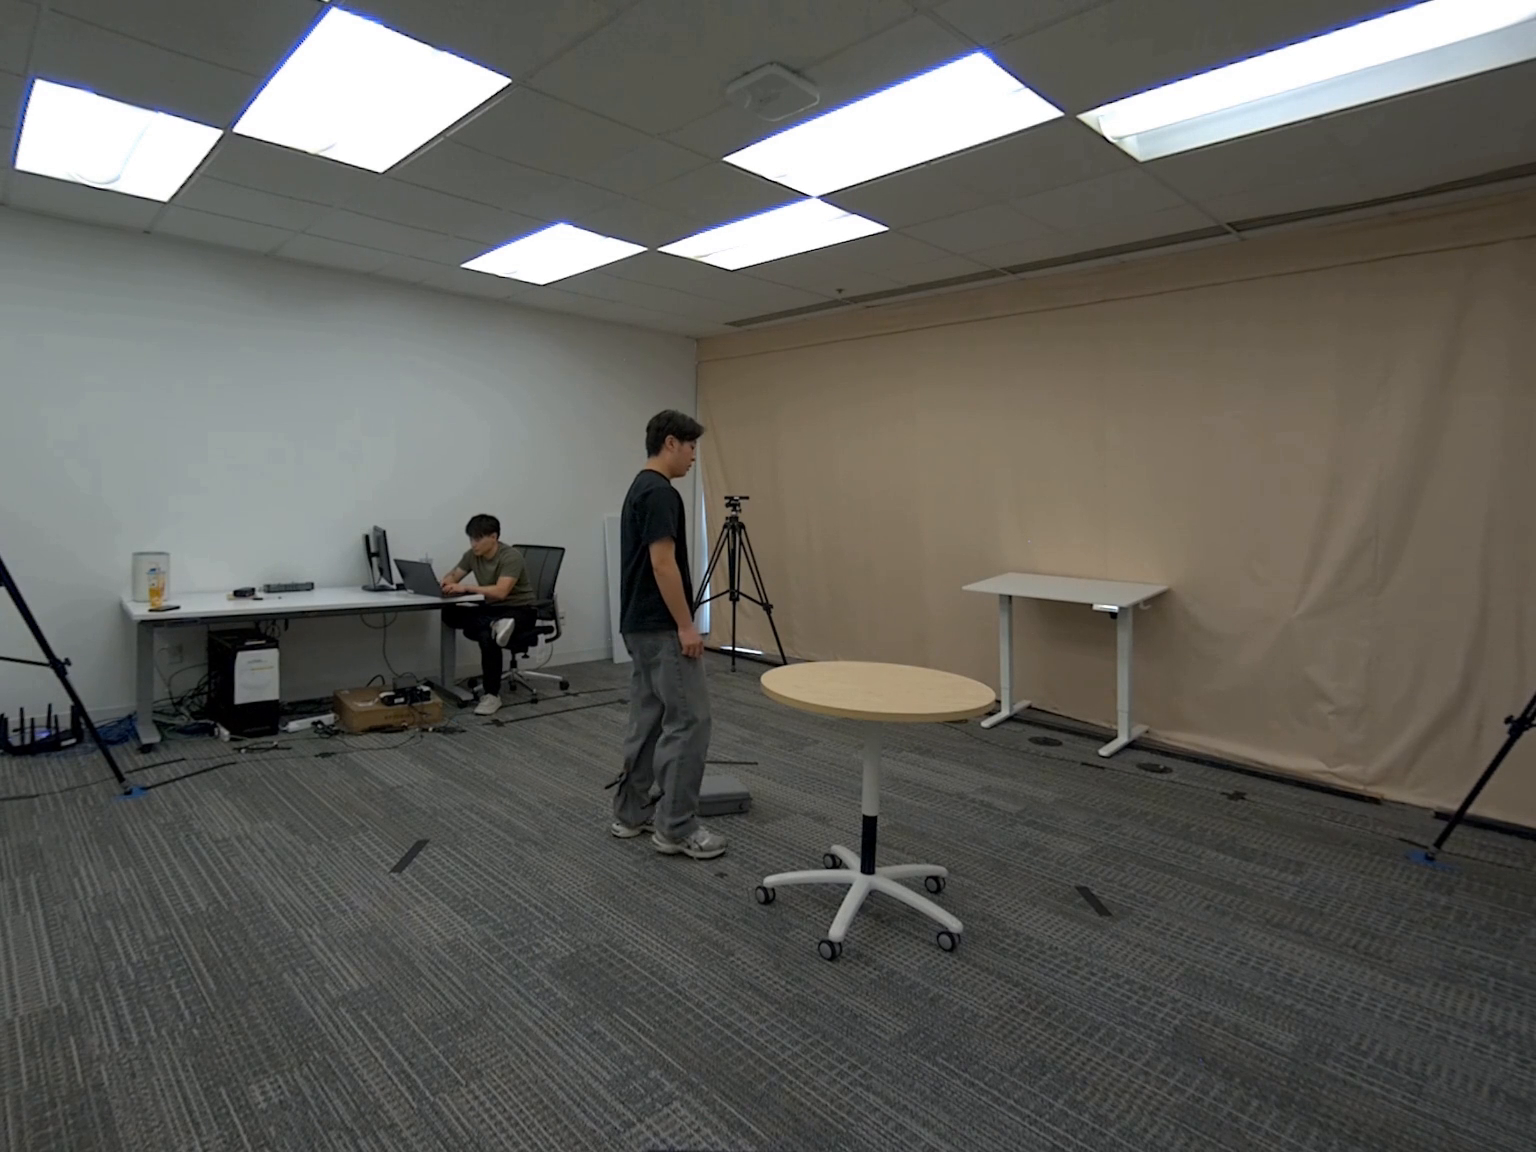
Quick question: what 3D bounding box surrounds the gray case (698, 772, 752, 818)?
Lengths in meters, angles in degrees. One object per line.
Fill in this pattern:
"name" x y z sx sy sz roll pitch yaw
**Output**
"gray case" -0.232 0.987 3.811 0.283 0.103 0.268 1 5 -21
